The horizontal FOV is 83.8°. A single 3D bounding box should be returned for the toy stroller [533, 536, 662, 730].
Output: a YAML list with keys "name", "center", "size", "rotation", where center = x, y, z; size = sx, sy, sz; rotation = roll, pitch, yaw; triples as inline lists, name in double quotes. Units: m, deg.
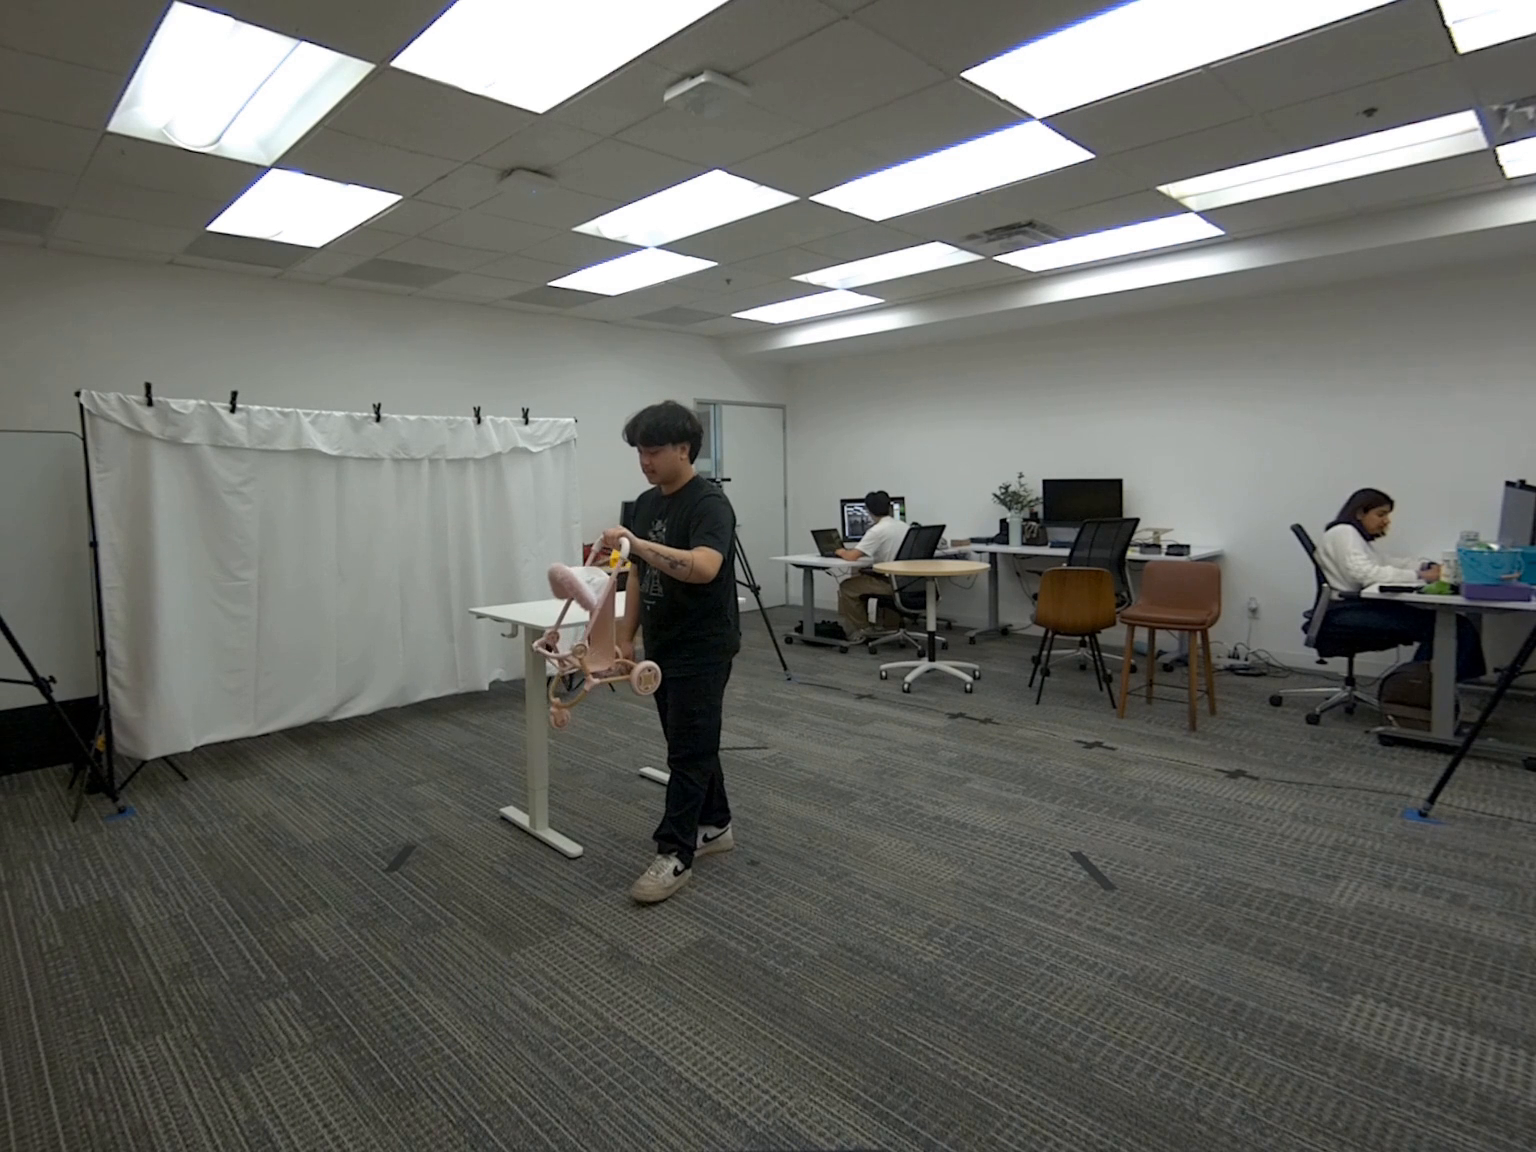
- name: "toy stroller"
  center: [-0.559, 0.176, 2.597]
  size: [0.335, 0.528, 0.290]
  rotation: [-15, 16, -29]
